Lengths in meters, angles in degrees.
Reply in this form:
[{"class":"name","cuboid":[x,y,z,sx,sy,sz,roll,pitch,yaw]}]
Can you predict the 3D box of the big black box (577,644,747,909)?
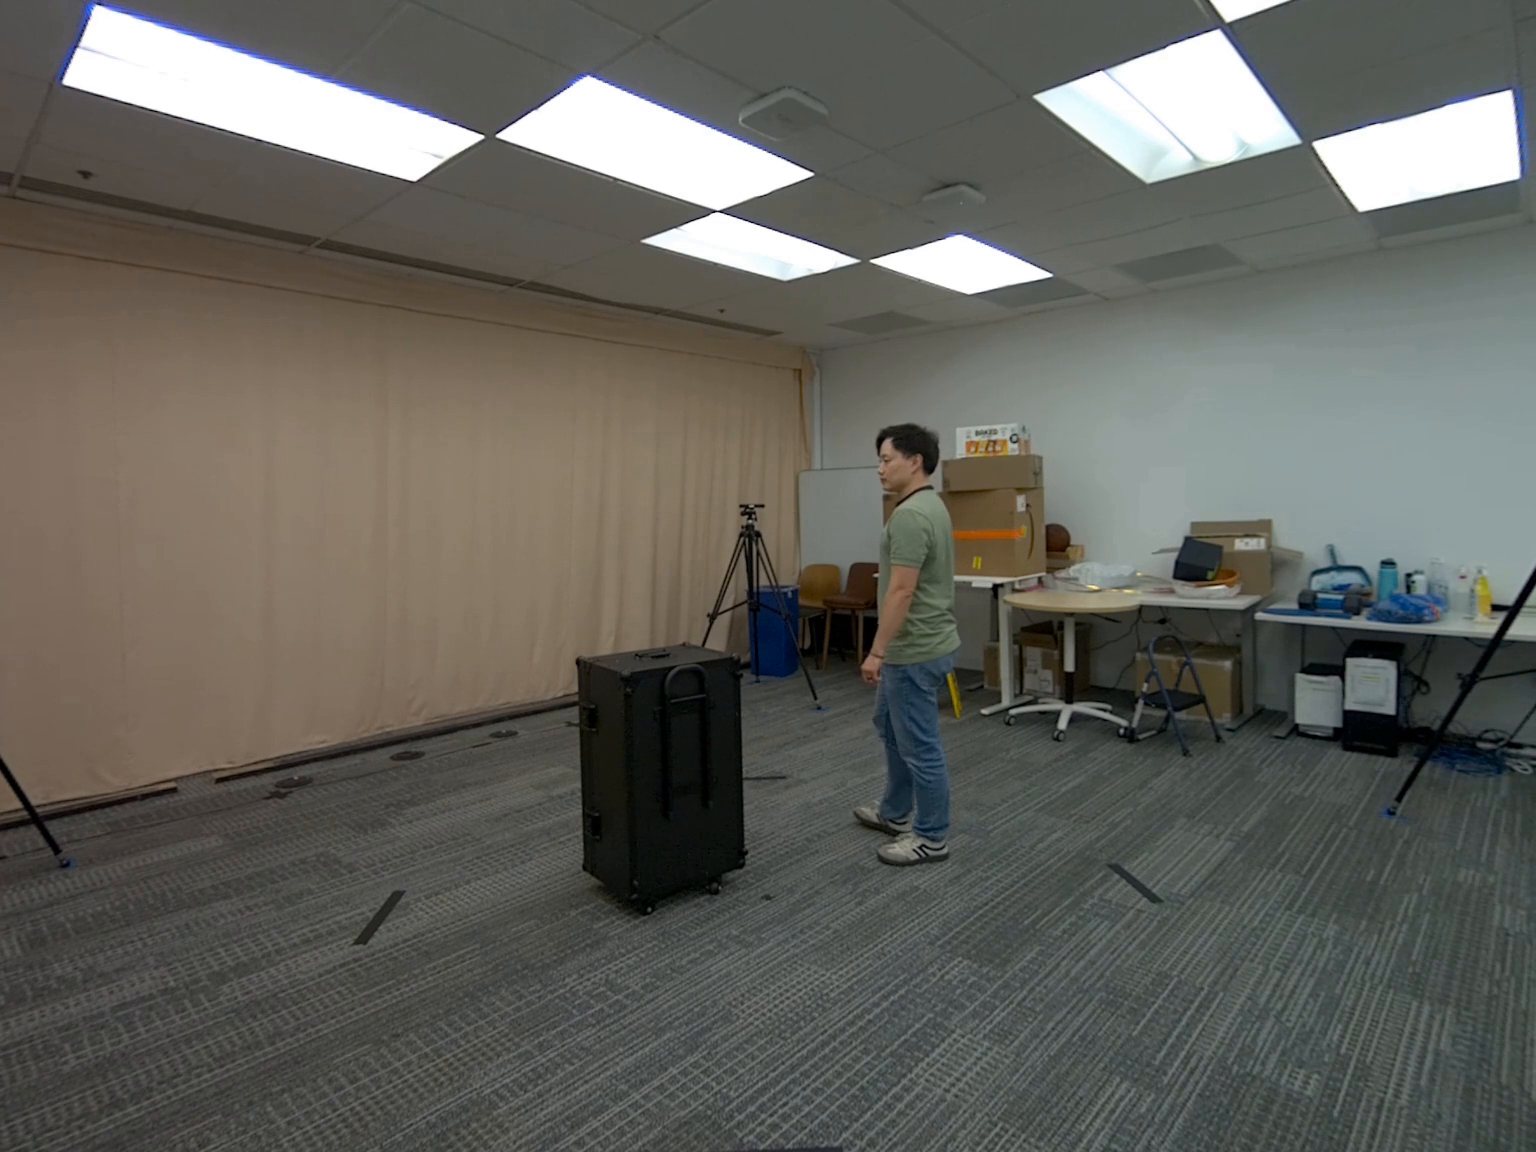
[{"class":"big black box","cuboid":[-0.376,0.719,3.052,0.506,0.859,0.409,-3,4,-36]}]
